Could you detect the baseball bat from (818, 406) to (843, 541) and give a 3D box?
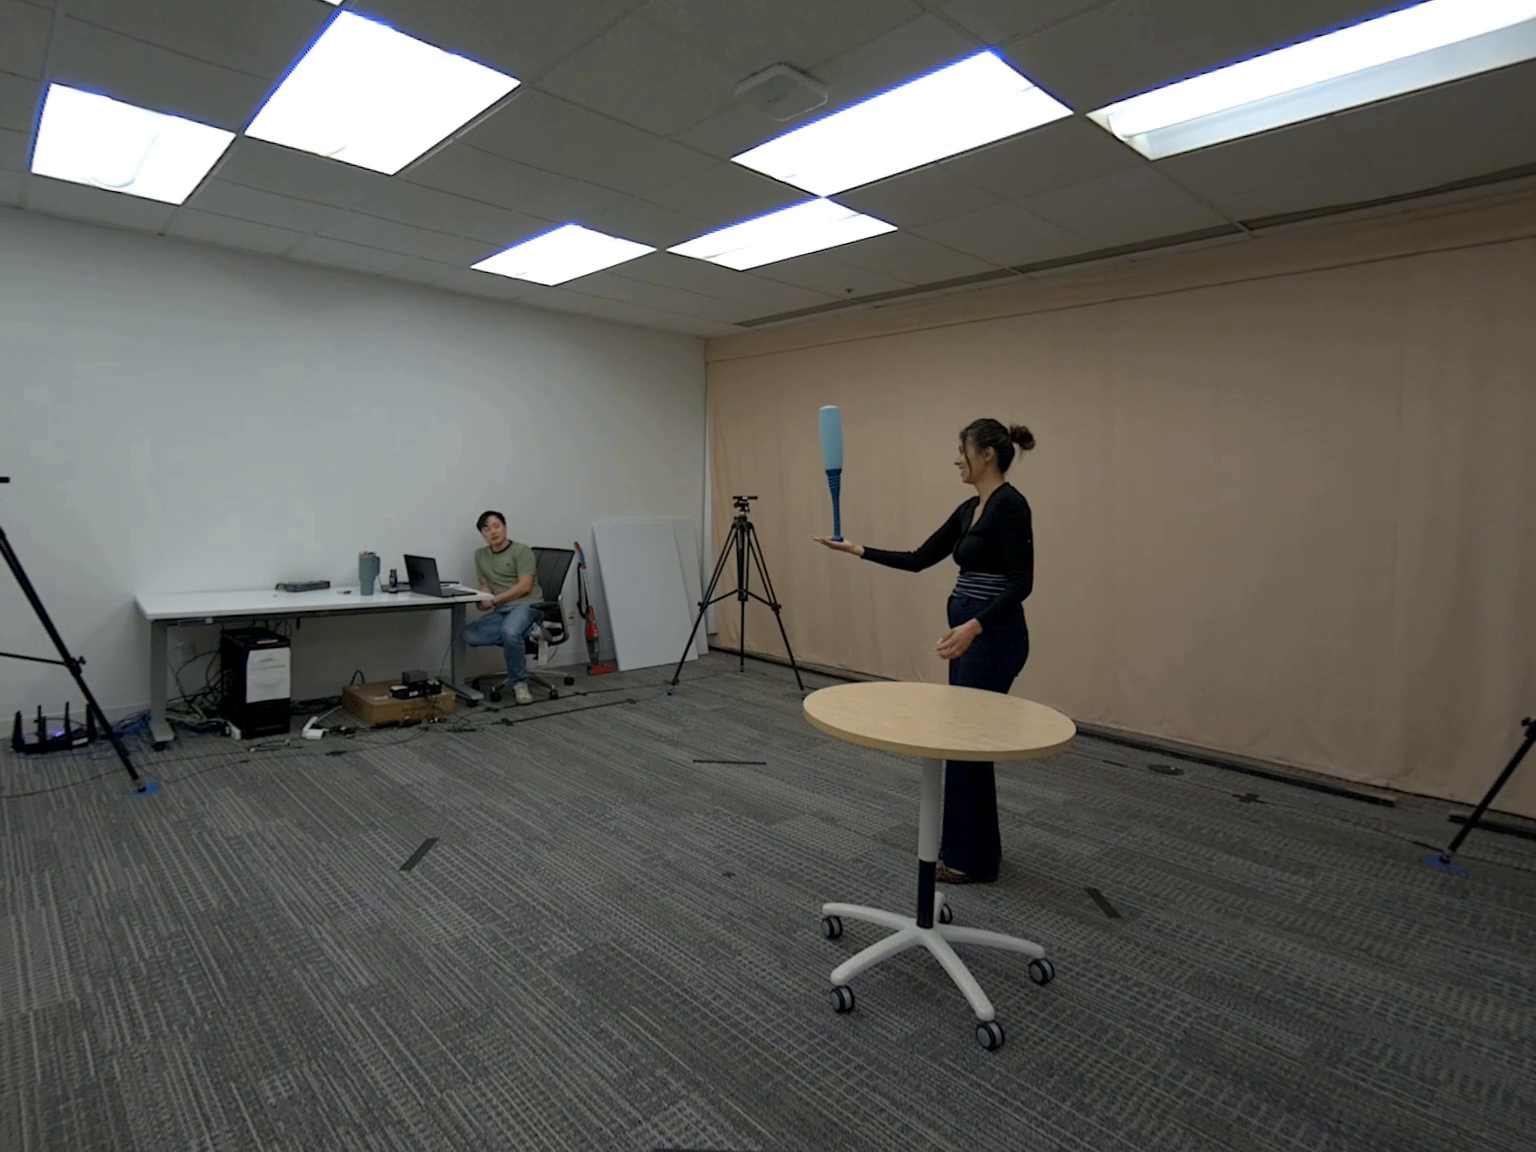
[{"bbox_3d":[0.262,-0.403,3.348,0.089,0.543,0.089,-4,1,-1],"label":"baseball bat"}]
